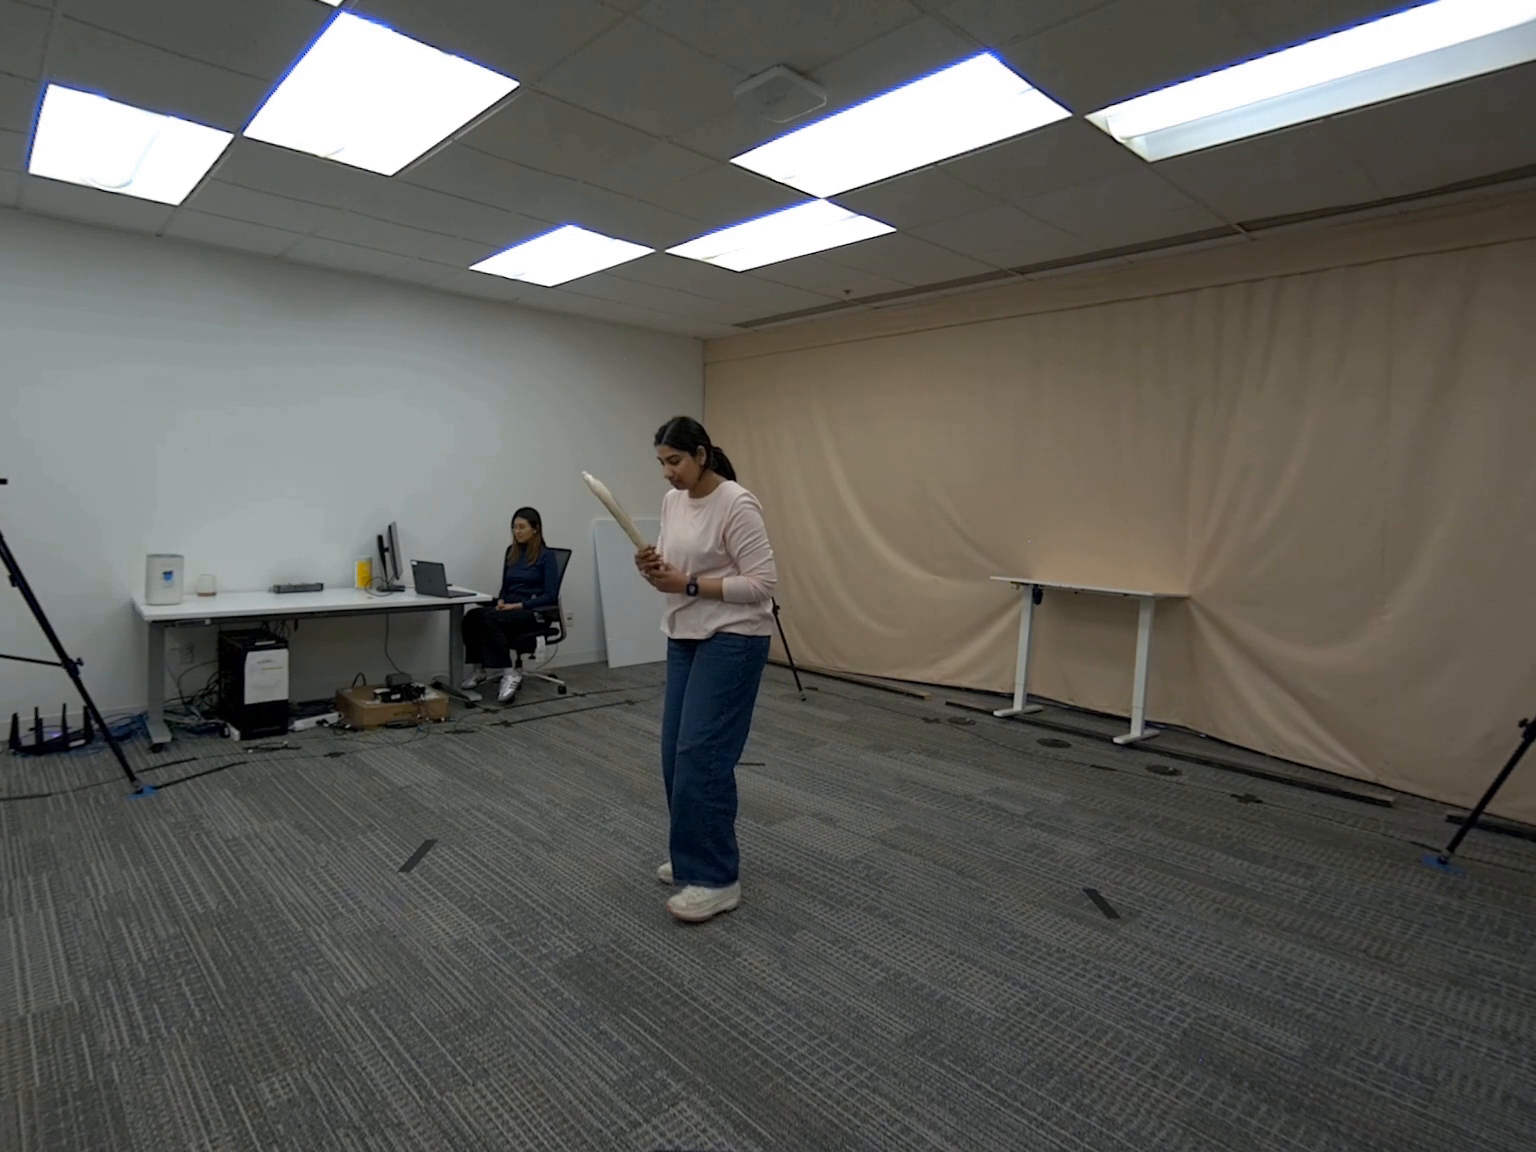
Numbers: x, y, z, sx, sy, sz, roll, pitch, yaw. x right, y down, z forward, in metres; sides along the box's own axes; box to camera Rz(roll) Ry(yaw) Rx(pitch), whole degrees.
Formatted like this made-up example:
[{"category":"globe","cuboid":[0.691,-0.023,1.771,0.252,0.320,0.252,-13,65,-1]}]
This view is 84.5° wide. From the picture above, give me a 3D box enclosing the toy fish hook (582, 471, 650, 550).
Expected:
[{"category":"toy fish hook","cuboid":[-0.461,-0.148,2.776,0.048,0.492,0.231,-35,35,-3]}]
